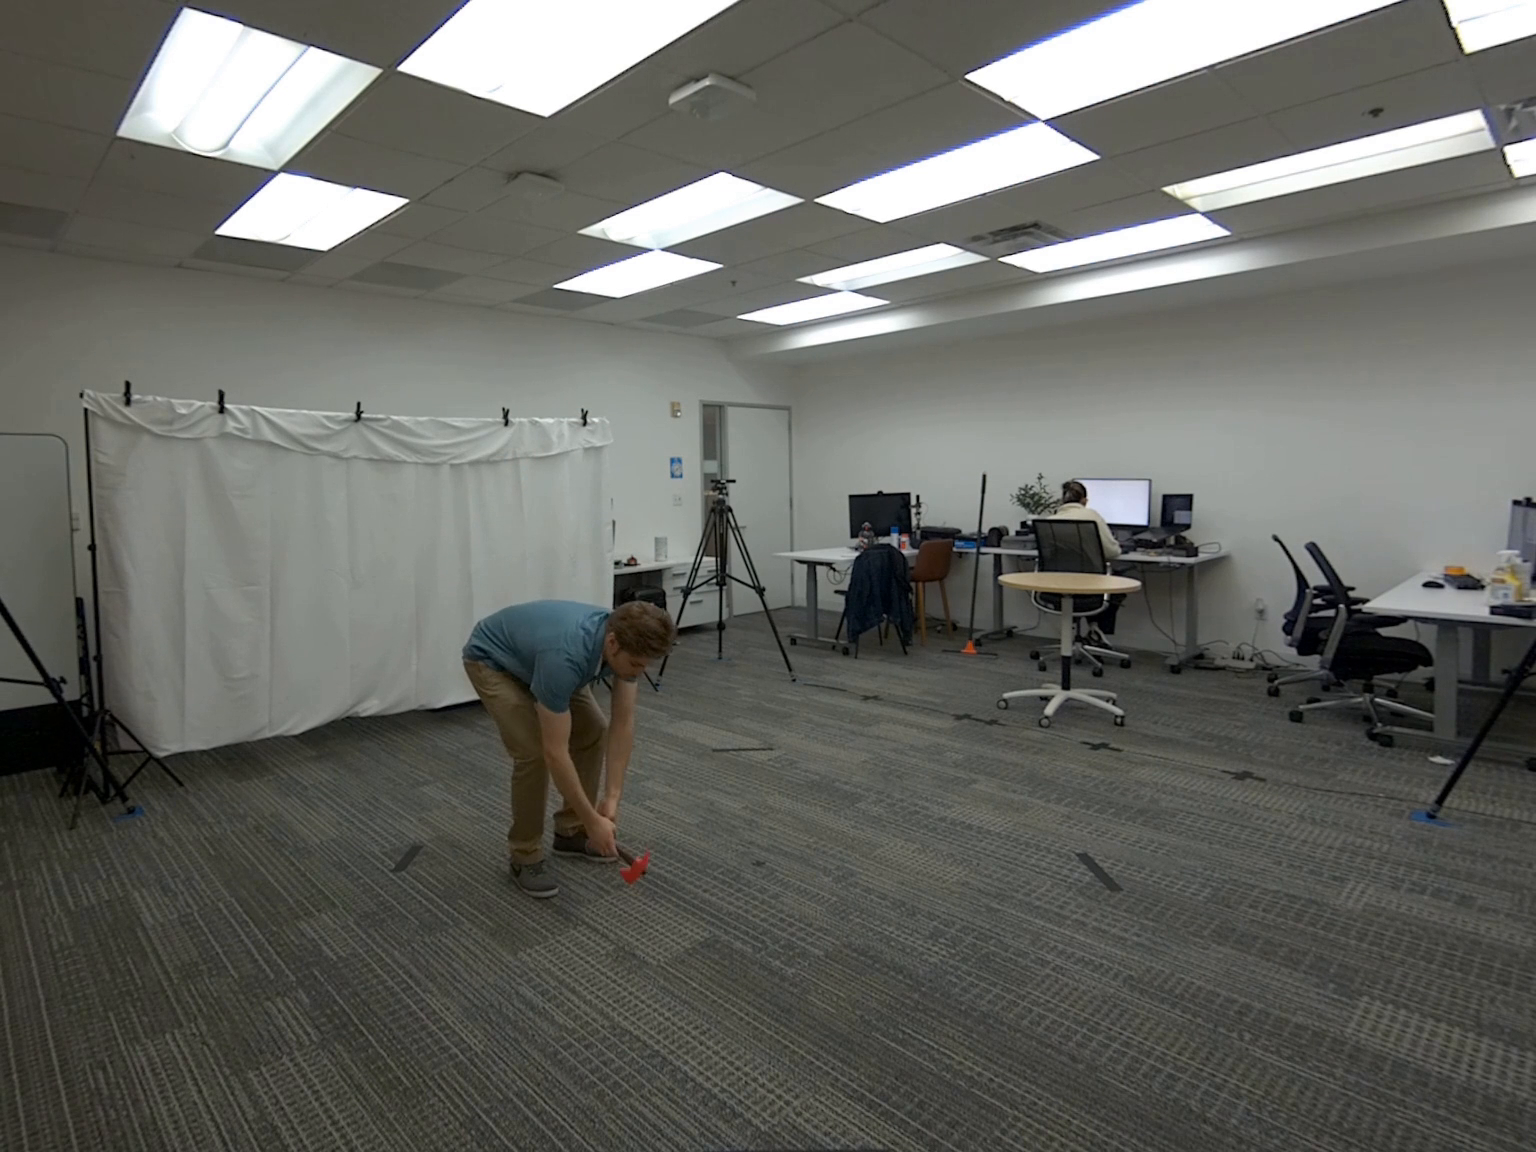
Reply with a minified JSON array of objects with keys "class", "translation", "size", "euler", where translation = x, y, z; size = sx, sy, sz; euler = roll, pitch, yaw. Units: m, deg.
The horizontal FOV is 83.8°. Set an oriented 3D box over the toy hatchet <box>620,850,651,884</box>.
[{"class":"toy hatchet","translation":[-0.533,0.938,2.847],"size":[0.275,0.131,0.029],"euler":[13,2,17]}]
